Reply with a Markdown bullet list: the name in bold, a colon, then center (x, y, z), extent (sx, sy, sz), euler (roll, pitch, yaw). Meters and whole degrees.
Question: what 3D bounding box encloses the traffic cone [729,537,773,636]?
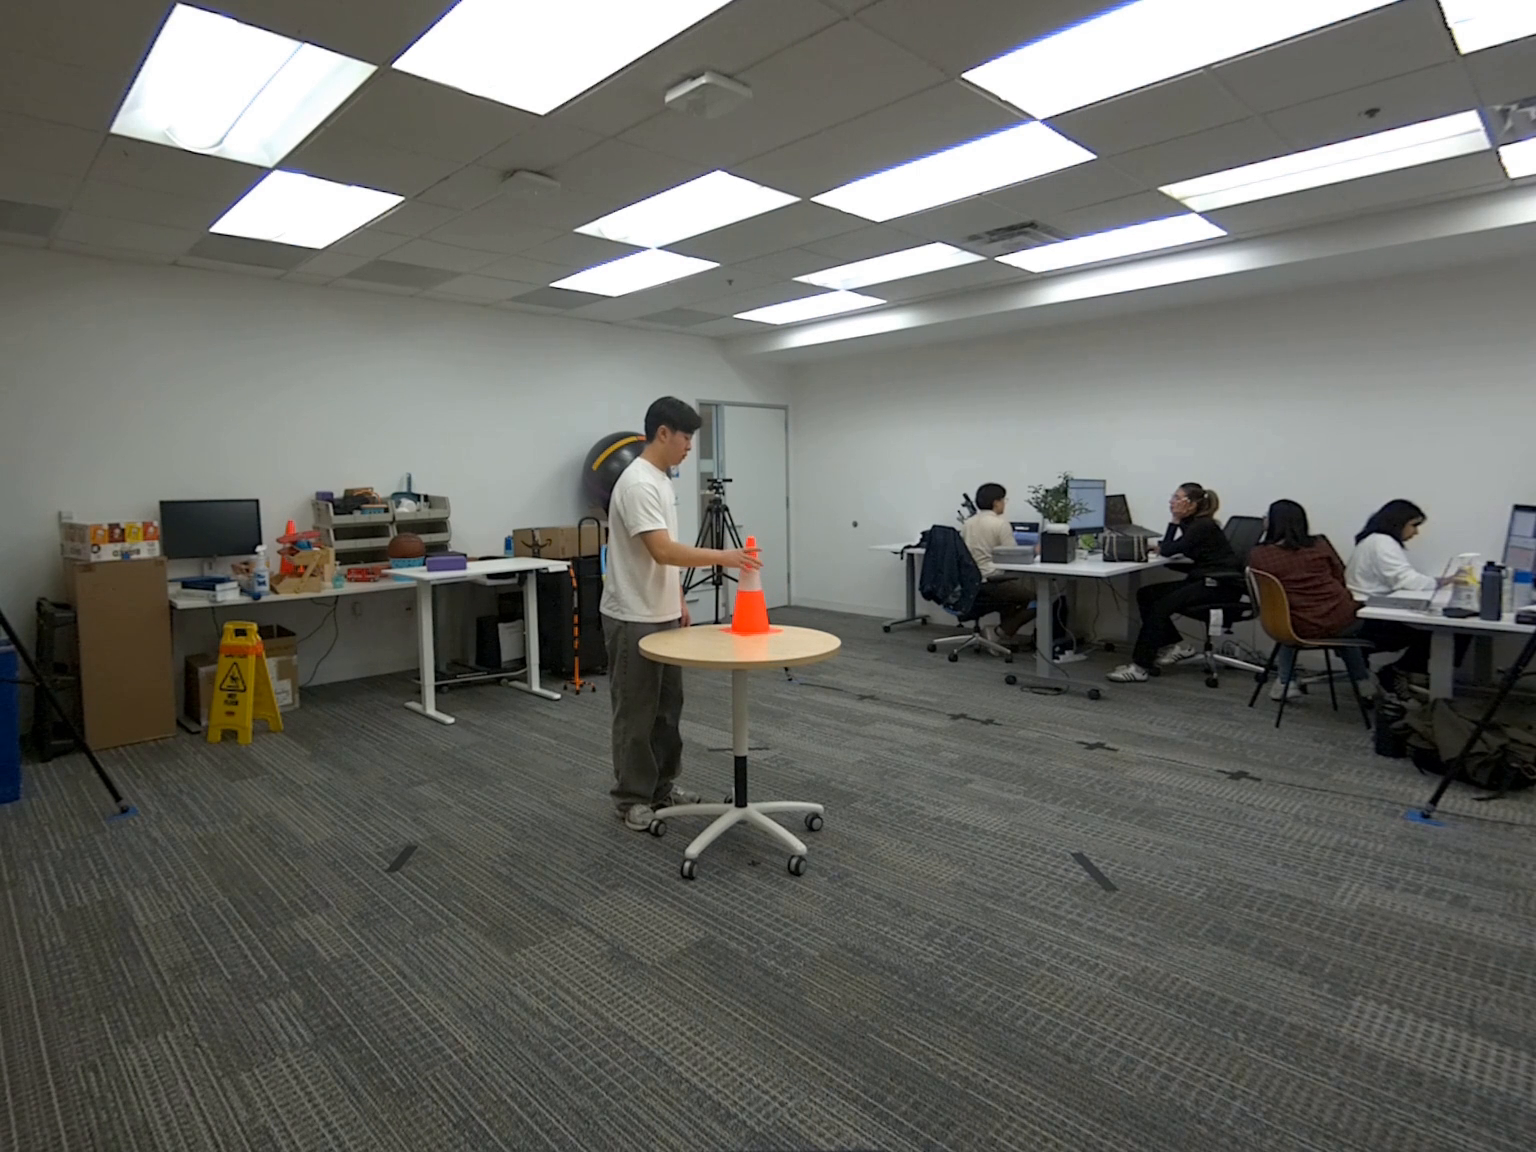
- **traffic cone**: center (-0.072, 0.035, 3.460), extent (0.211, 0.382, 0.198), euler (5, 7, 42)
